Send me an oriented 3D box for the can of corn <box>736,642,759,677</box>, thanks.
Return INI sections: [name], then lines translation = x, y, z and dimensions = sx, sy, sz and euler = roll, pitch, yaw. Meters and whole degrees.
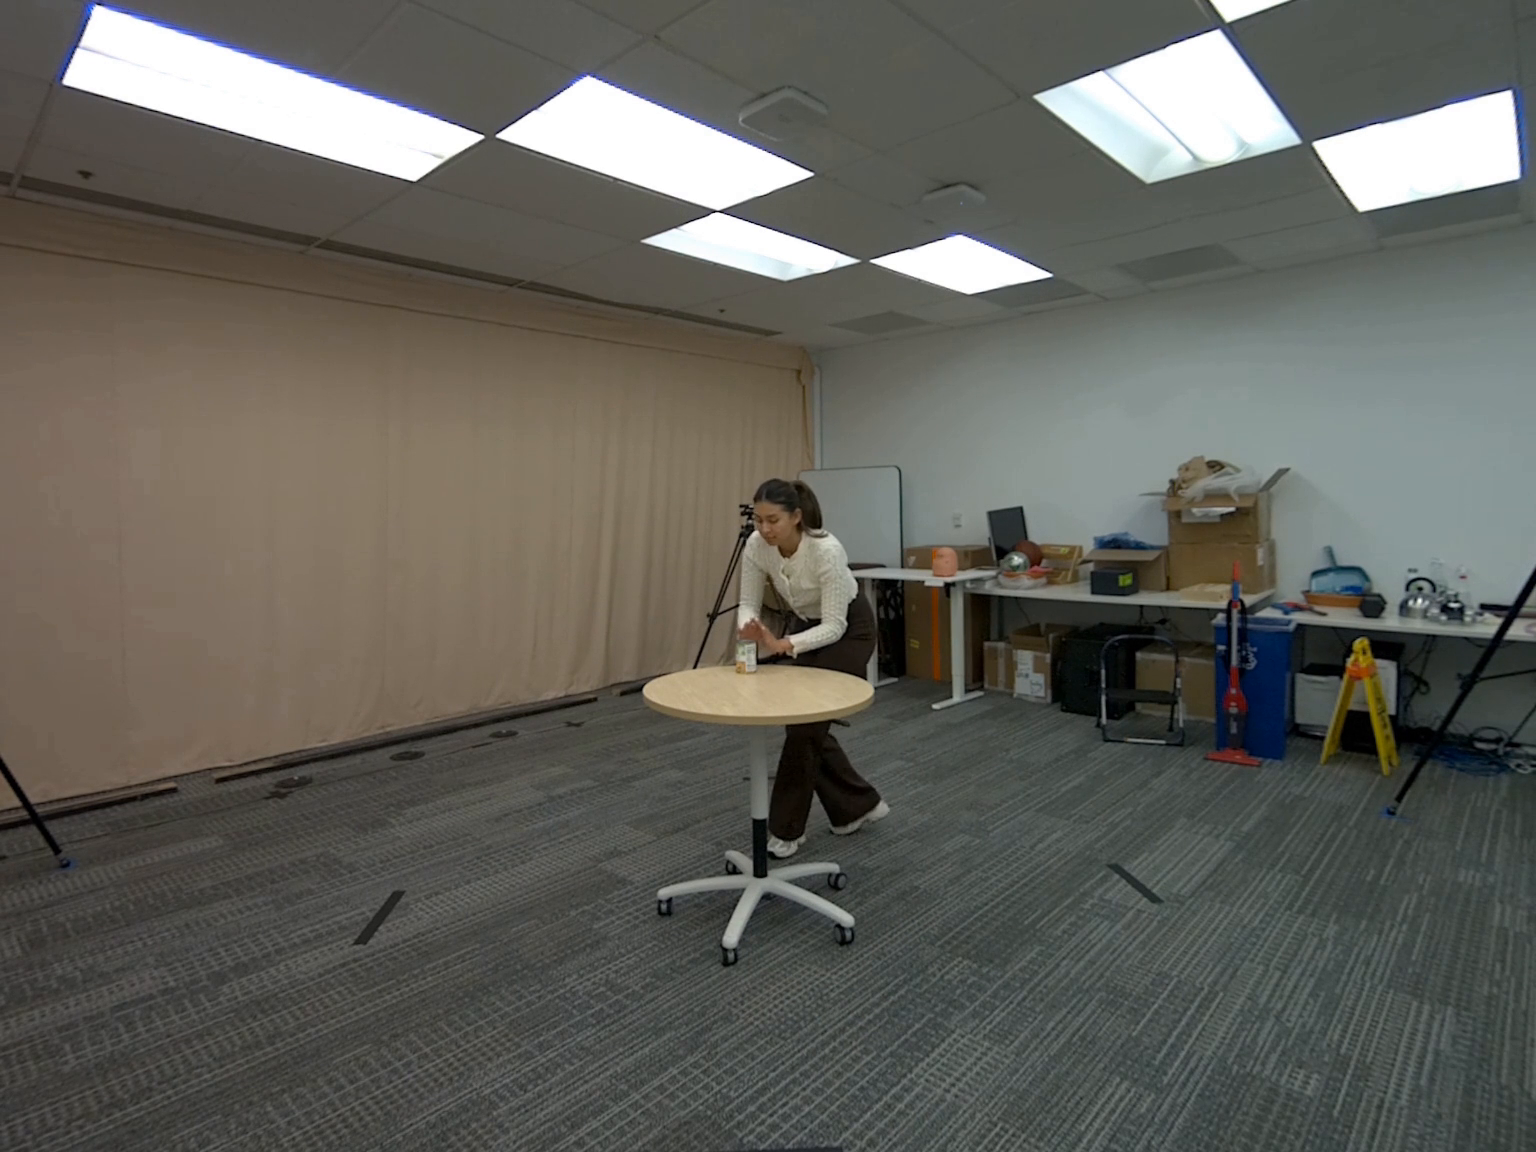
[can of corn]
translation = -0.075, 0.298, 3.049
dimensions = 0.074, 0.111, 0.074
euler = 0, 3, -2
